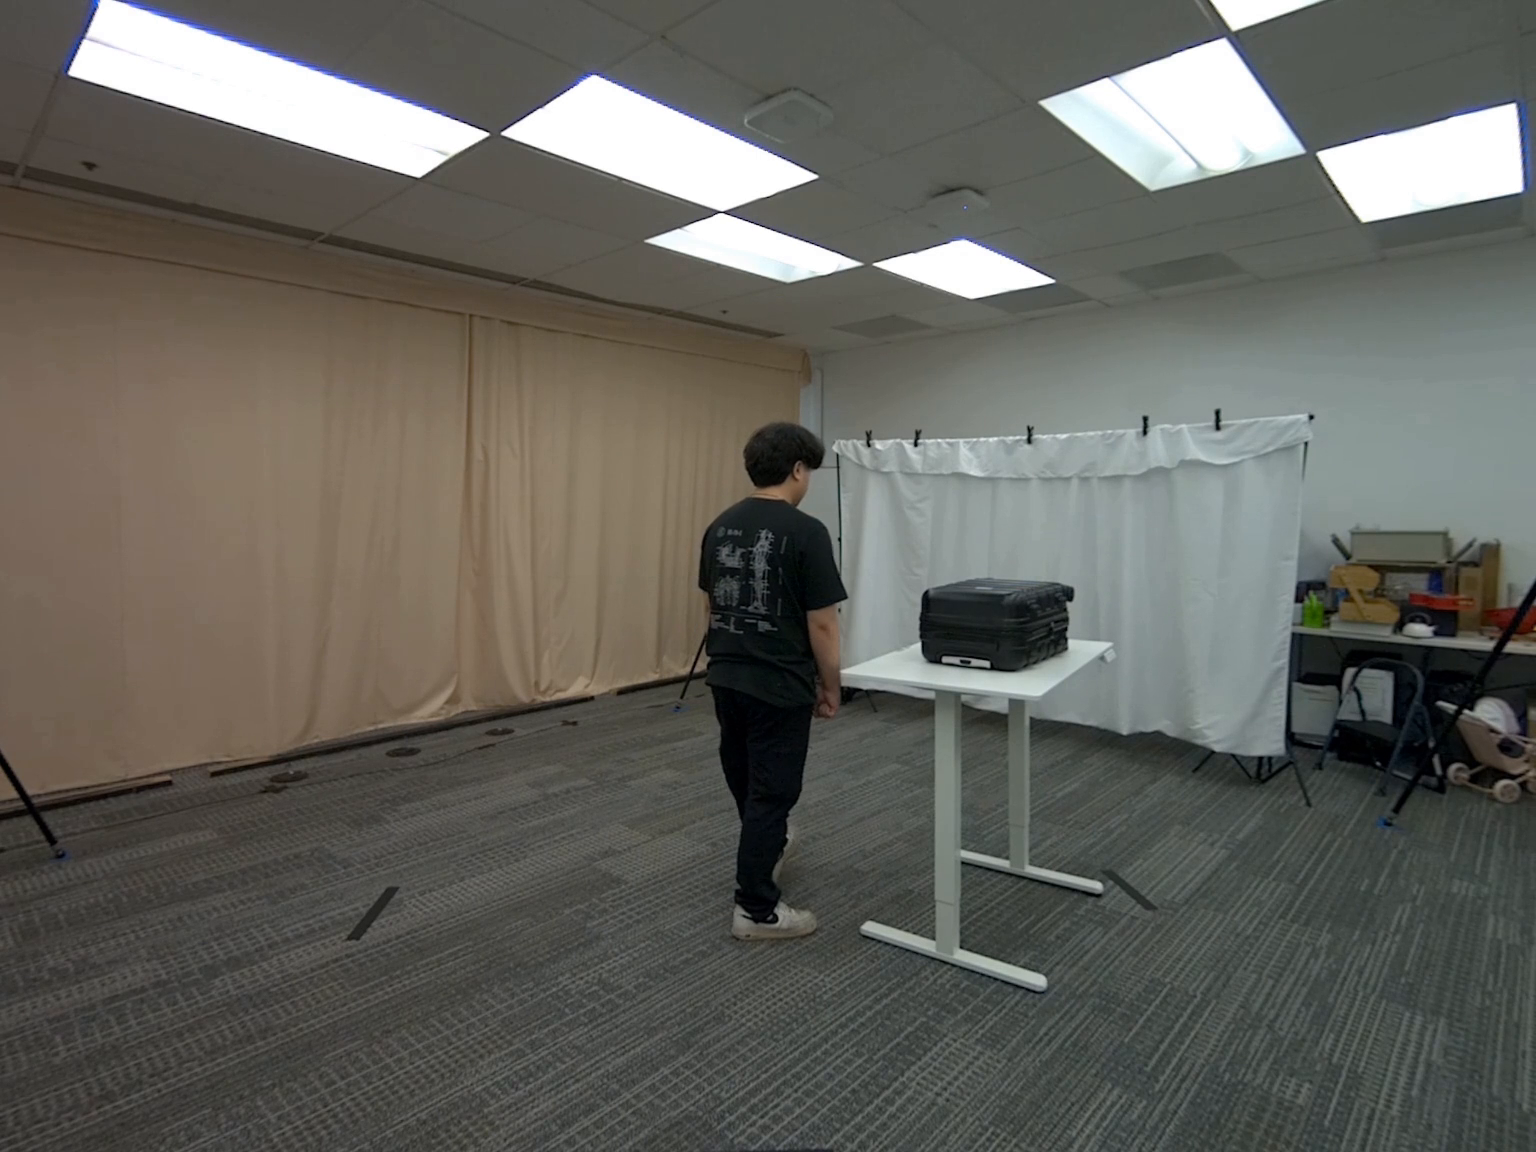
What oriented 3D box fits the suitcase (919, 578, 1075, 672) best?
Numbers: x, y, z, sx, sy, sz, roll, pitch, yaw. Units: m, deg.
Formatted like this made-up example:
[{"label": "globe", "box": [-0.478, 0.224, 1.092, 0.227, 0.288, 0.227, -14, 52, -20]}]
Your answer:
[{"label": "suitcase", "box": [0.776, 0.160, 2.820, 0.388, 0.247, 0.533, 4, 6, 38]}]
